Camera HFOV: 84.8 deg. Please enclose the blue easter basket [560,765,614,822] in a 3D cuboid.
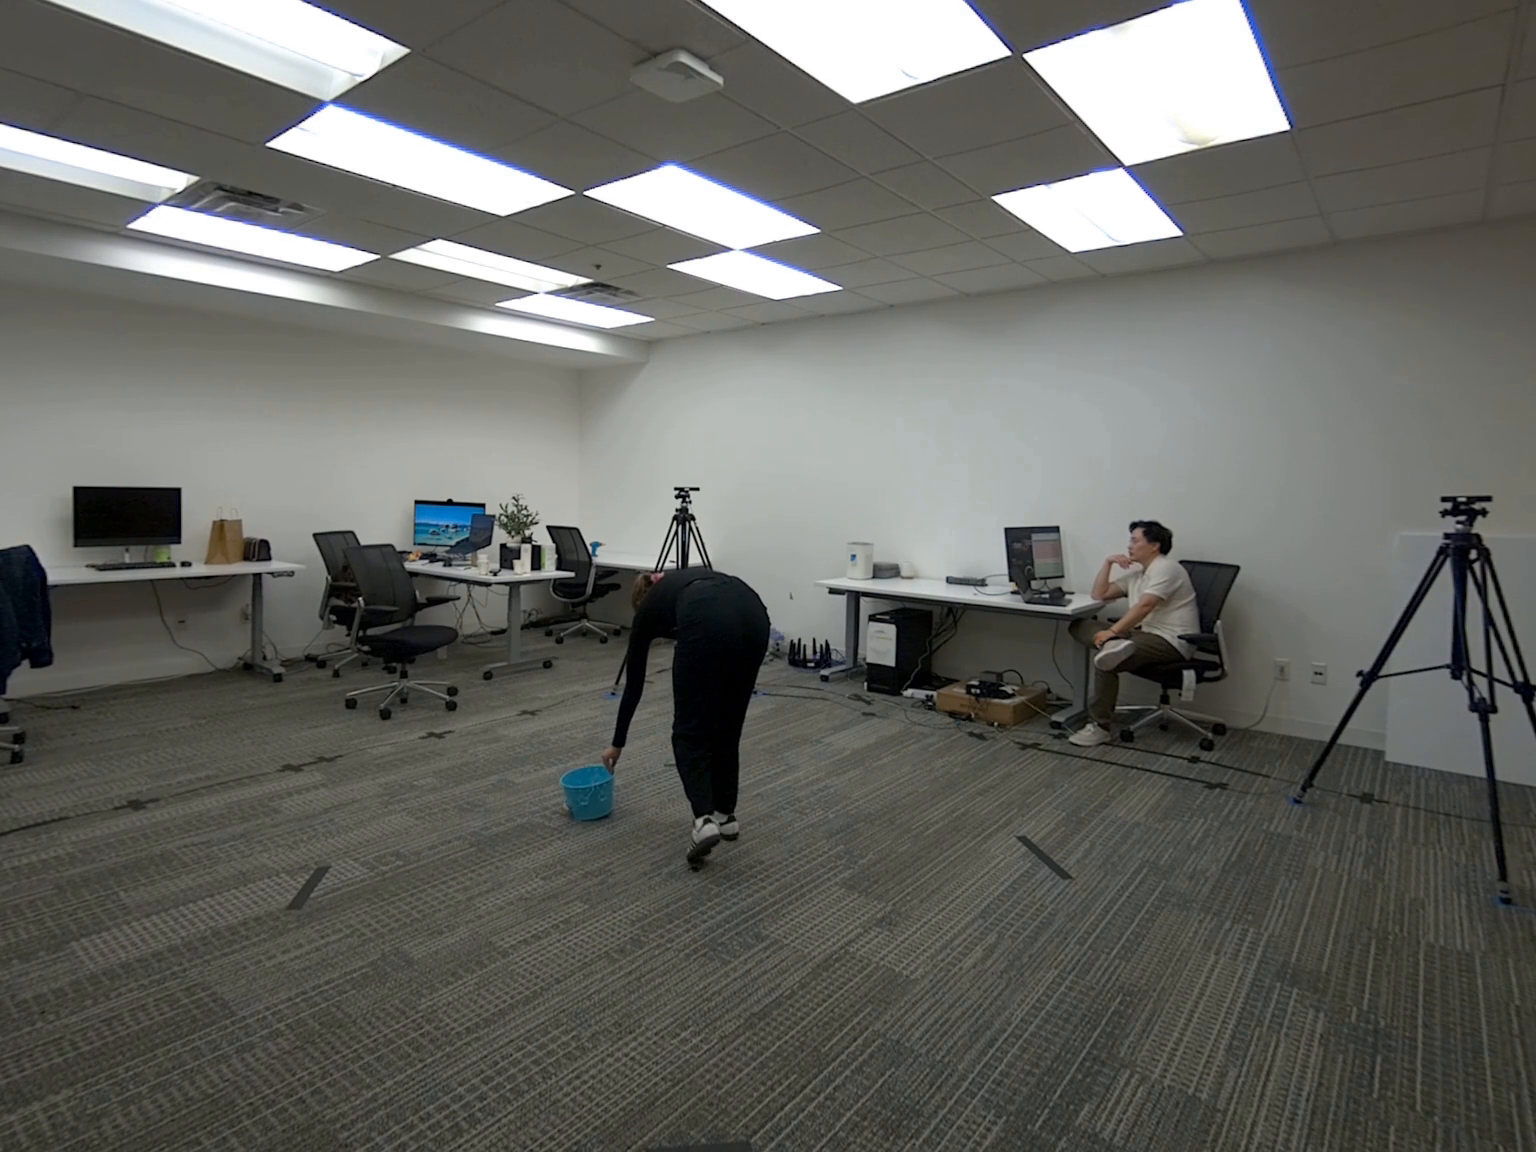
[{"bbox_3d":[-0.773,0.923,3.620,0.243,0.155,0.246,-3,9,-1],"label":"blue easter basket"}]
